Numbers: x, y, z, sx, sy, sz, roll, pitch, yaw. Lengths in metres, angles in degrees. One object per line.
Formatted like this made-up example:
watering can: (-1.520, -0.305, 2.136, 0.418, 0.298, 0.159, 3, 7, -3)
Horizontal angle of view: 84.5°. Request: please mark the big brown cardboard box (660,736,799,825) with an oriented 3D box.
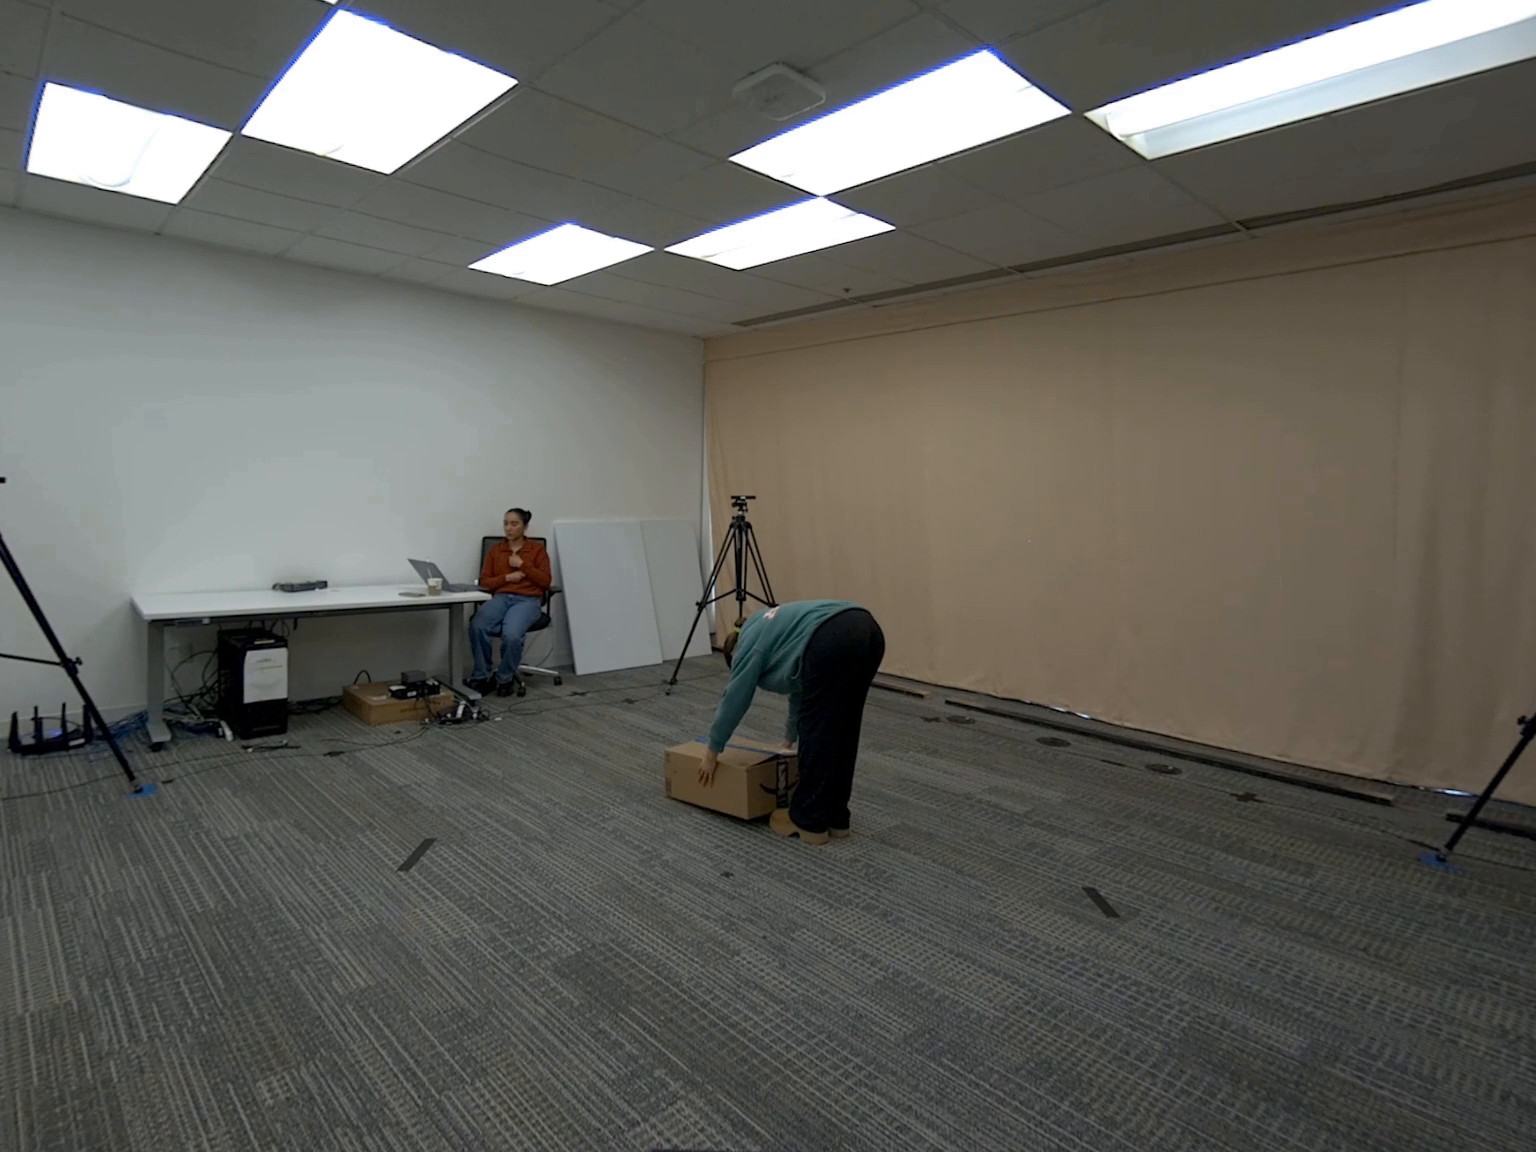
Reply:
big brown cardboard box: (-0.144, 0.903, 3.840, 0.408, 0.233, 0.602, -1, -1, -43)
